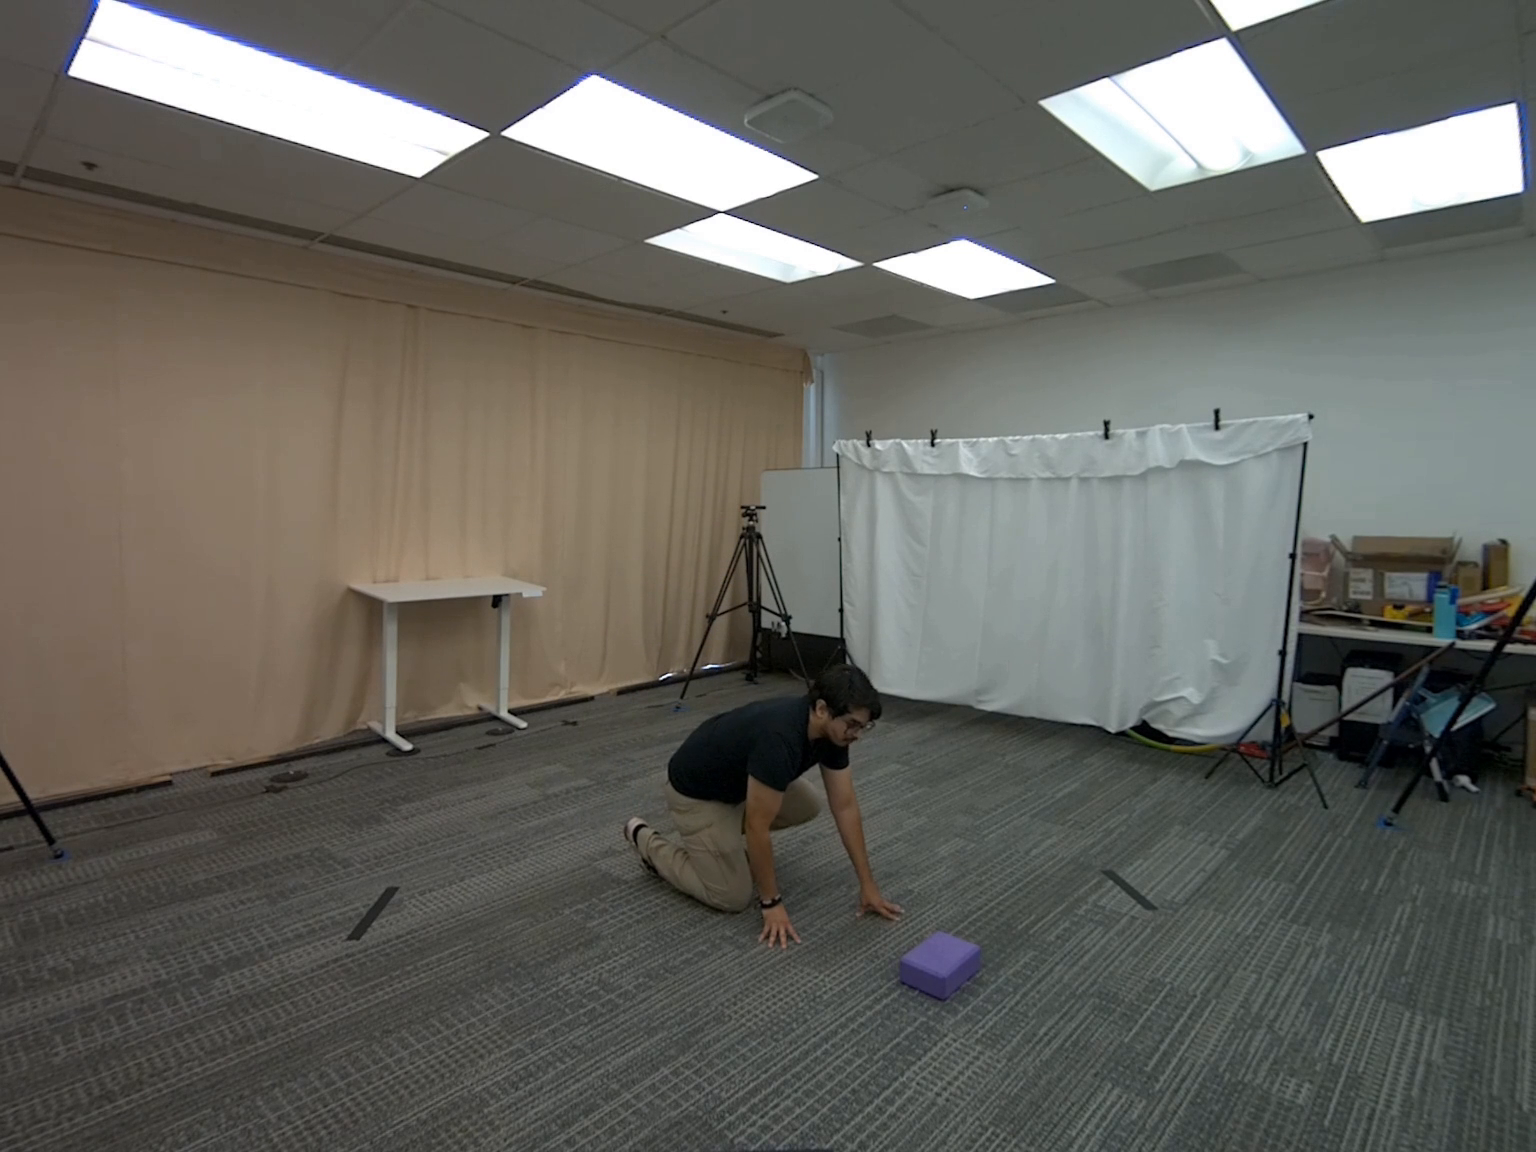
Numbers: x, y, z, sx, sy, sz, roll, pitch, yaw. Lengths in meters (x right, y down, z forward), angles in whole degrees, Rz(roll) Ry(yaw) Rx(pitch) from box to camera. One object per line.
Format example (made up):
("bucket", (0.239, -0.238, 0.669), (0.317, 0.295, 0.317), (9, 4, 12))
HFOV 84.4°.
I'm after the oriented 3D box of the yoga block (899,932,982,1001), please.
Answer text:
("yoga block", (0.516, 1.144, 2.485), (0.154, 0.076, 0.222), (4, 6, 41))
